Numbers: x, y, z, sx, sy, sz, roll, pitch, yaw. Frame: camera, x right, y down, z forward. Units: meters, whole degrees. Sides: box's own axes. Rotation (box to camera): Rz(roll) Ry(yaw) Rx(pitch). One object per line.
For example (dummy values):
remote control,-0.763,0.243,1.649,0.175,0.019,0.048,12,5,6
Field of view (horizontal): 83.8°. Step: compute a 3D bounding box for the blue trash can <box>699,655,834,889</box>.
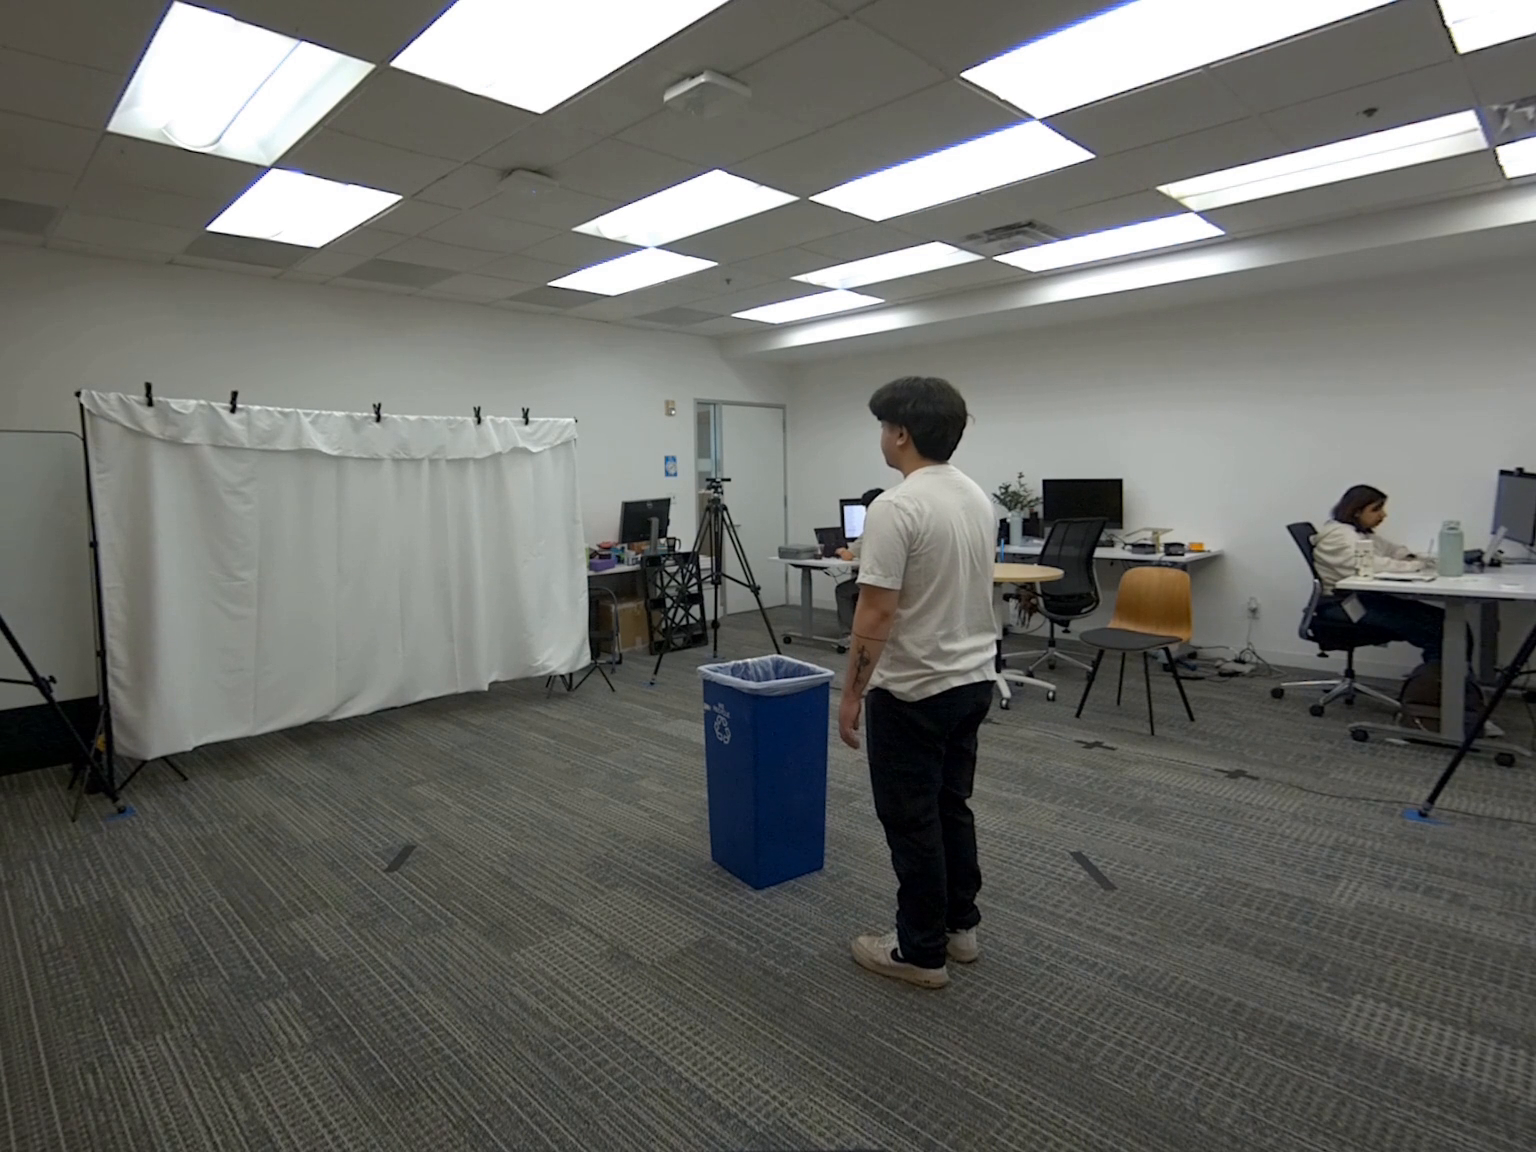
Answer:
blue trash can,0.000,0.686,3.069,0.368,0.711,0.385,-4,5,-35
